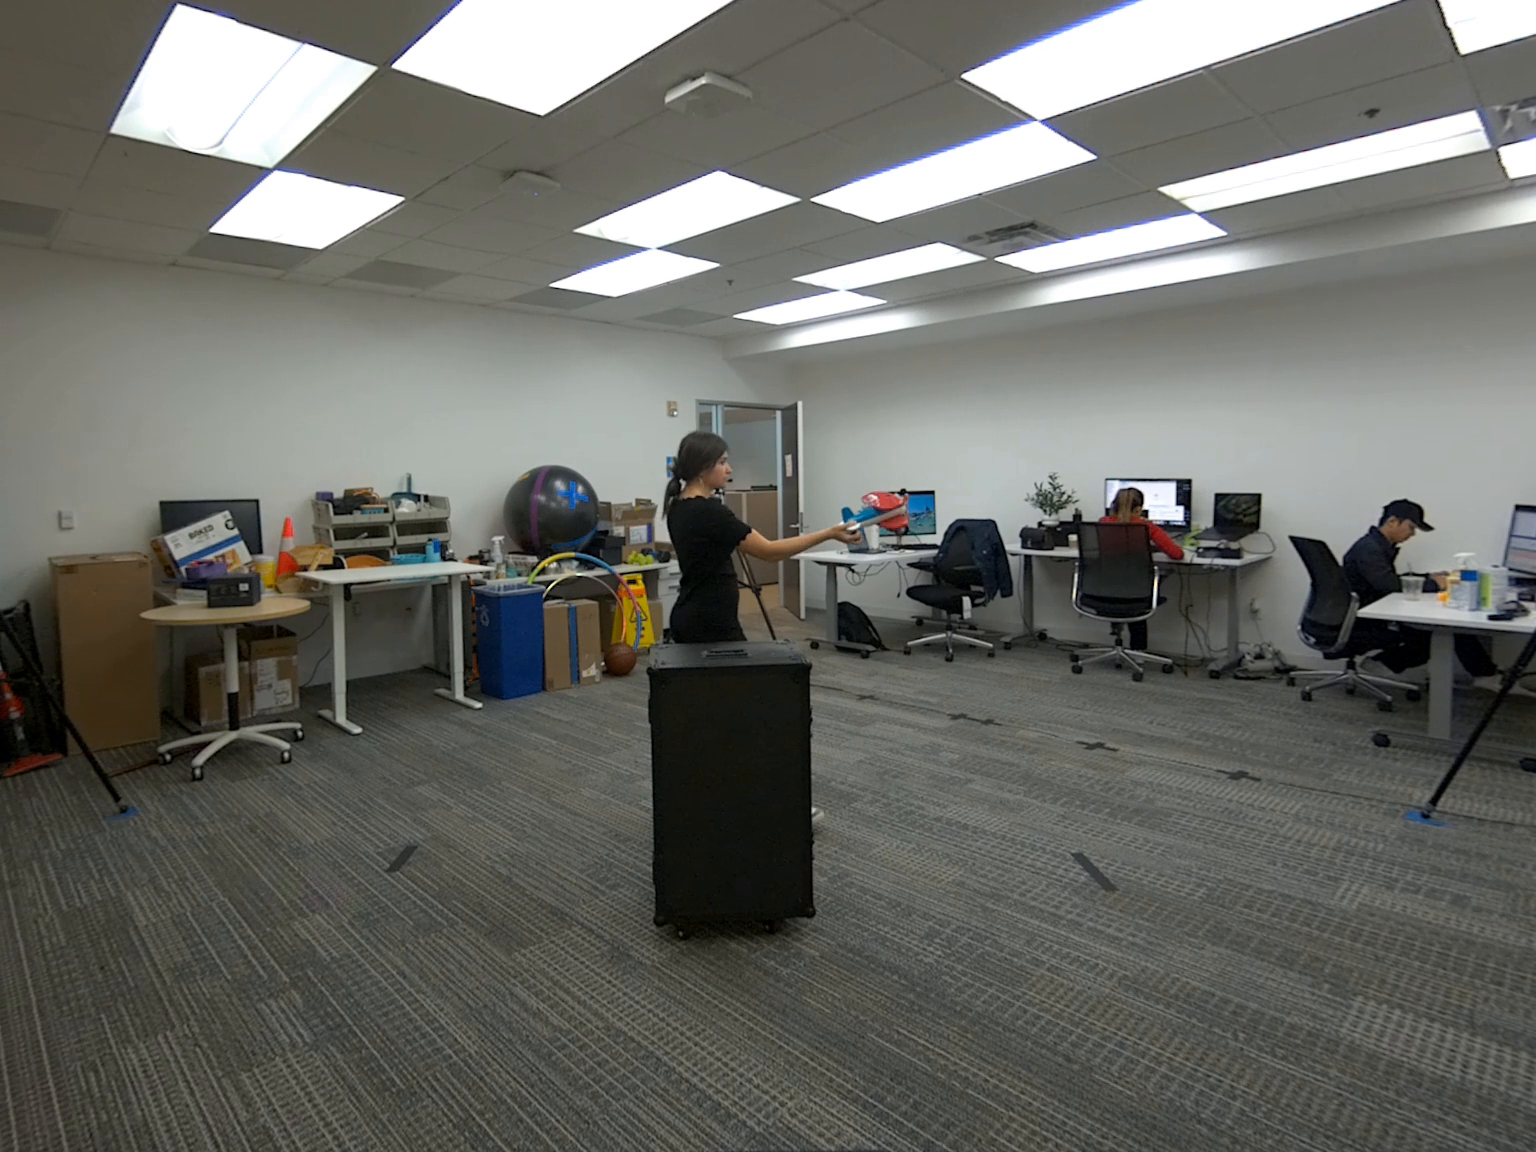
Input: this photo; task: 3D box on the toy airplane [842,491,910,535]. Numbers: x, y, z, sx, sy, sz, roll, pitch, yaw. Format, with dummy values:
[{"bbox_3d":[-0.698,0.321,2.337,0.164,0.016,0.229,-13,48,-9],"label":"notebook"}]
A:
[{"bbox_3d":[0.409,-0.222,3.196,0.254,0.154,0.259,-17,18,-39],"label":"toy airplane"}]
